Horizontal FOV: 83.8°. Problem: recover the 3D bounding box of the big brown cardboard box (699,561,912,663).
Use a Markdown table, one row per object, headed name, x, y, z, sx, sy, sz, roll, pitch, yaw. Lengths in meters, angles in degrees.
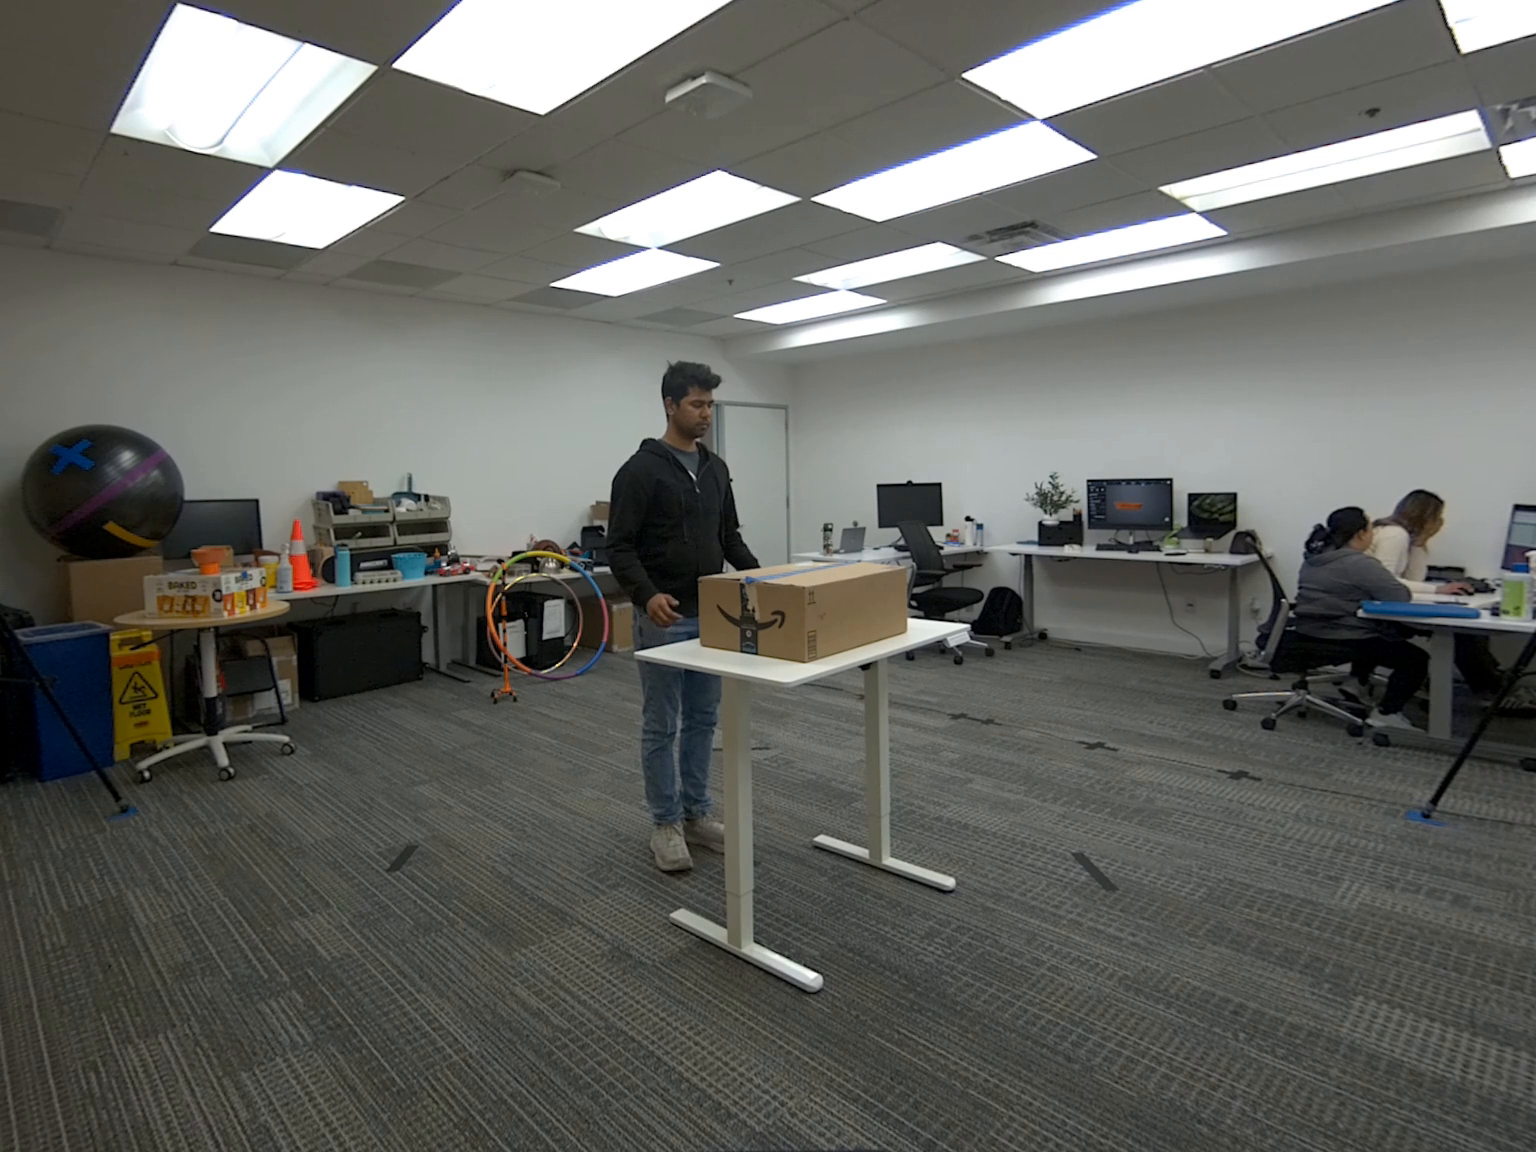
| name | x | y | z | sx | sy | sz | roll | pitch | yaw |
| --- | --- | --- | --- | --- | --- | --- | --- | --- | --- |
| big brown cardboard box | 0.120 | 0.092 | 2.727 | 0.430 | 0.232 | 0.574 | 4 | 9 | 40 |
